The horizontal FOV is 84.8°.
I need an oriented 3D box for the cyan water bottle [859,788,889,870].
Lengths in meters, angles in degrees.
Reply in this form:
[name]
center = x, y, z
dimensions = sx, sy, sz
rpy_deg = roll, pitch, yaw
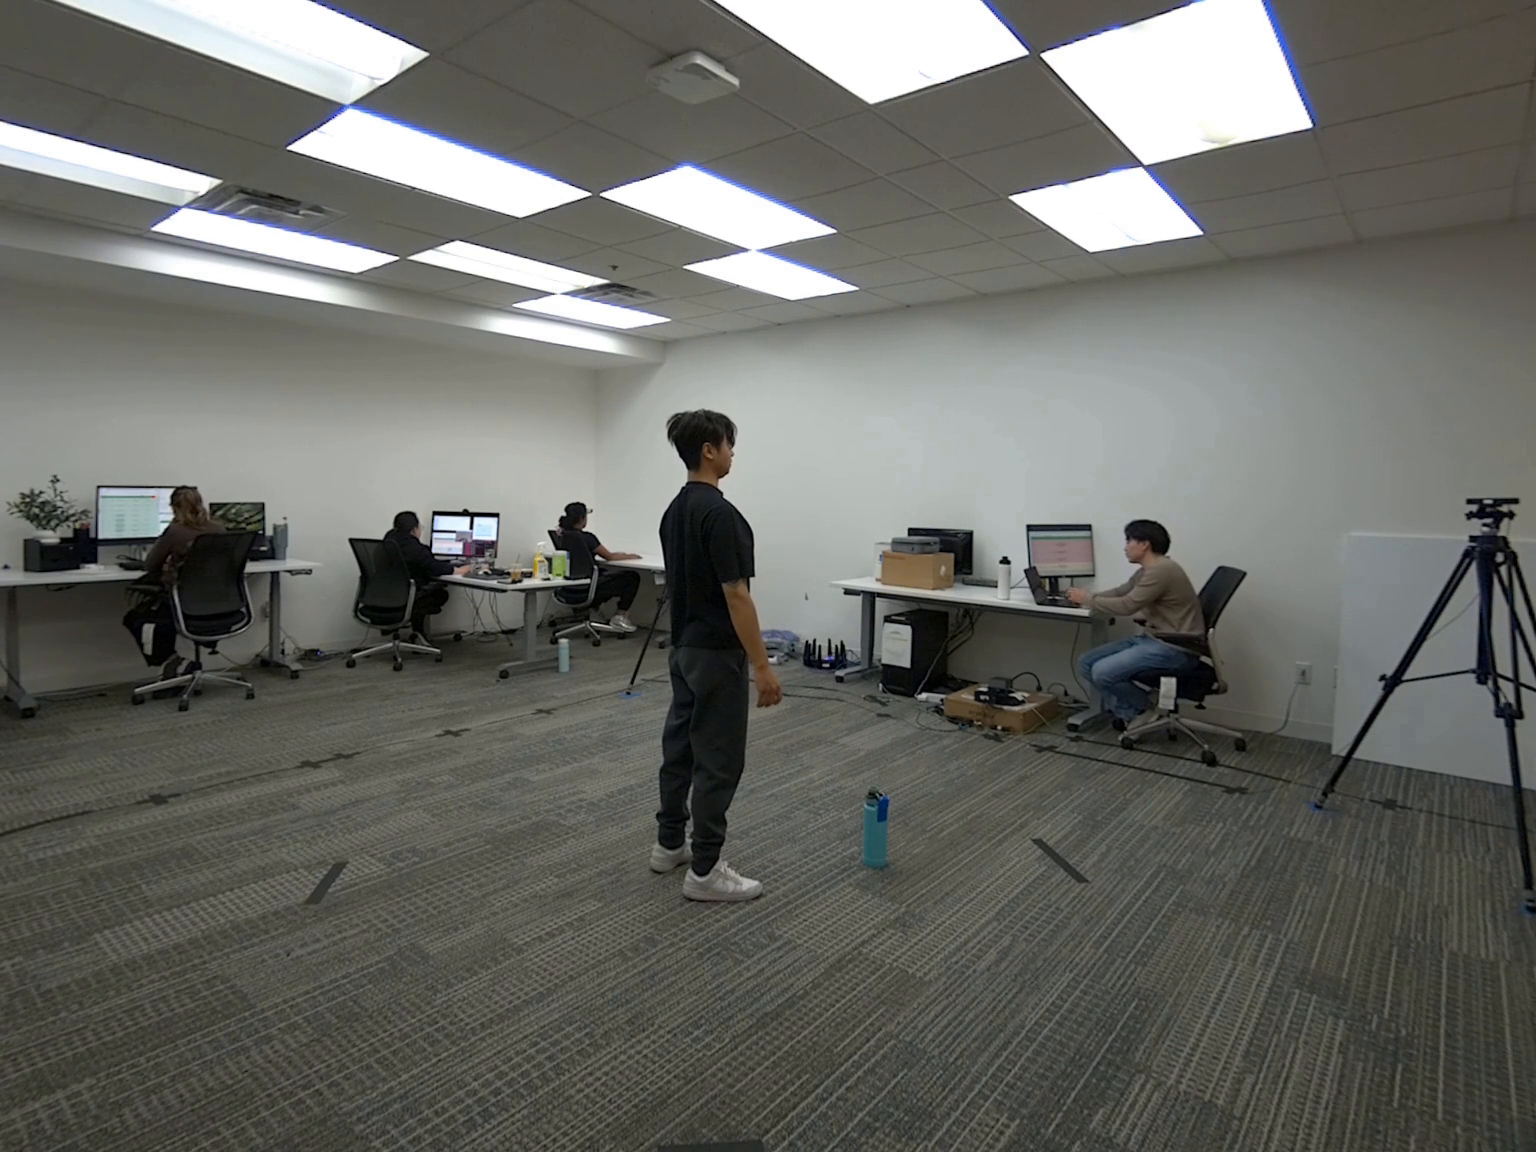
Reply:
[cyan water bottle]
center = 0.398, 0.936, 3.177
dimensions = 0.092, 0.282, 0.093
rpy_deg = 0, 4, -2
